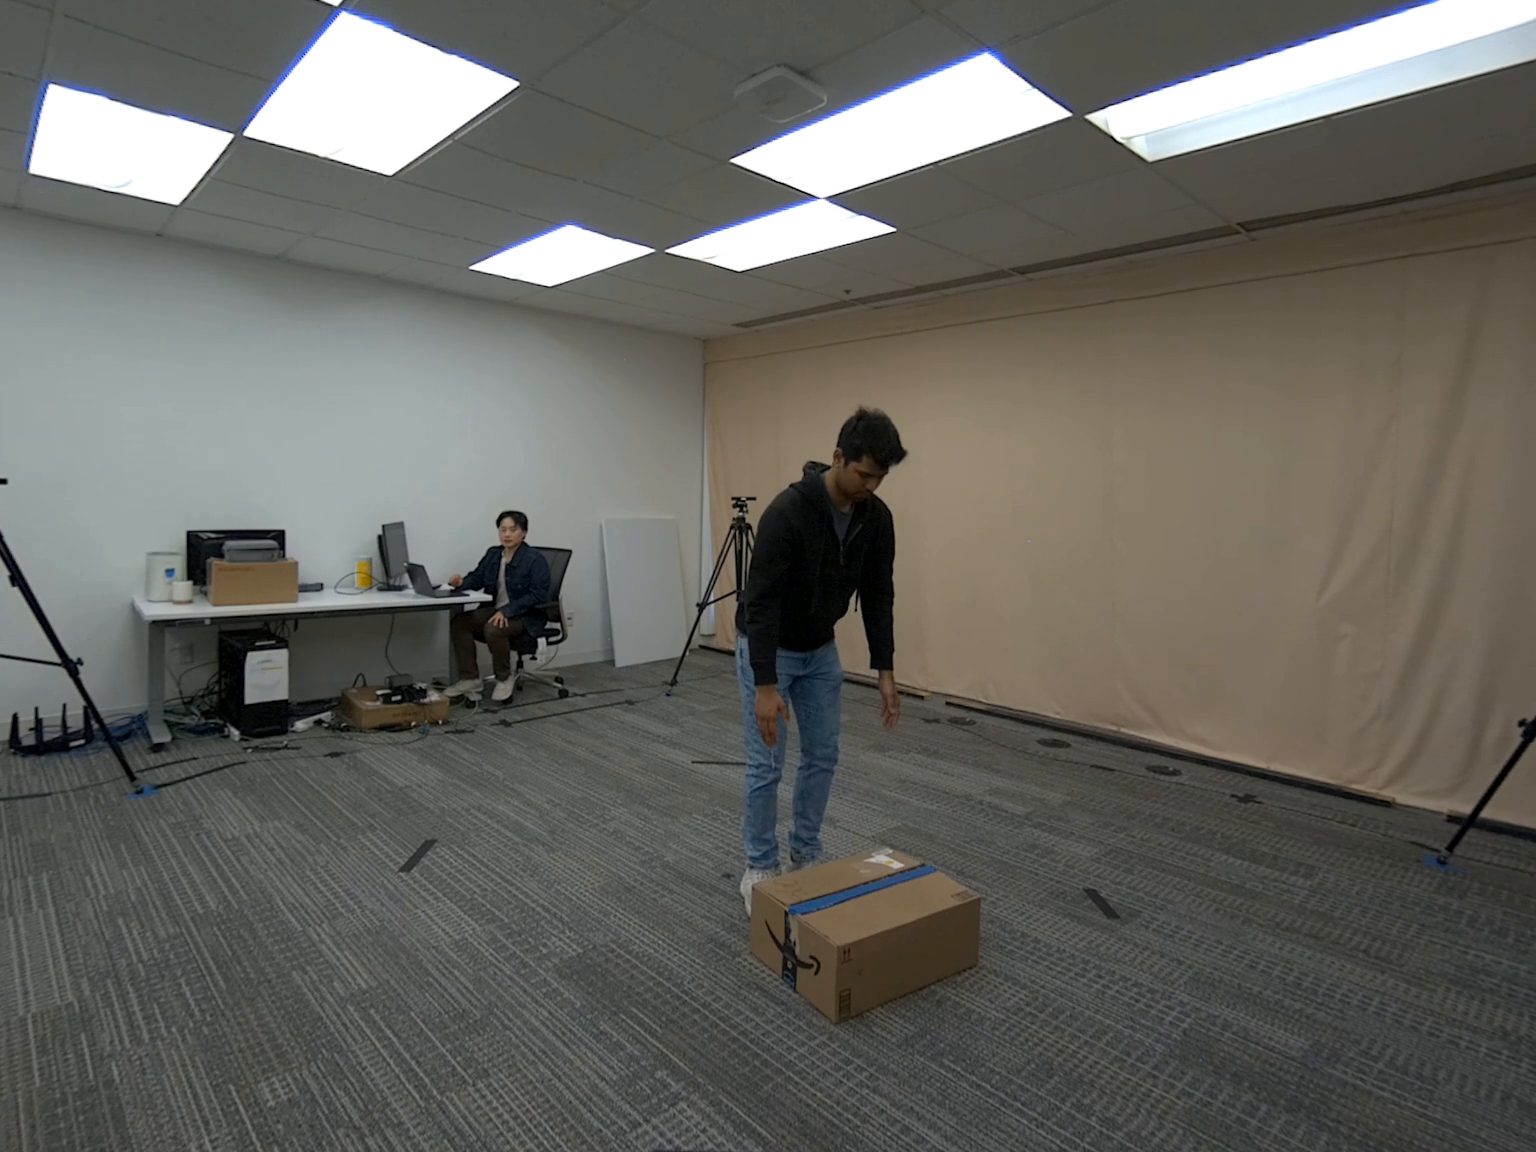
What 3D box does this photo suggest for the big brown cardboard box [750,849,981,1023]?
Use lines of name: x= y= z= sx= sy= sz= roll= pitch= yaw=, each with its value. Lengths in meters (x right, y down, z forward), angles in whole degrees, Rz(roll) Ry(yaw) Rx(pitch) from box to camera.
big brown cardboard box: x=0.294 y=1.057 z=2.557 sx=0.576 sy=0.232 sz=0.428 roll=-3 pitch=7 yaw=-34
